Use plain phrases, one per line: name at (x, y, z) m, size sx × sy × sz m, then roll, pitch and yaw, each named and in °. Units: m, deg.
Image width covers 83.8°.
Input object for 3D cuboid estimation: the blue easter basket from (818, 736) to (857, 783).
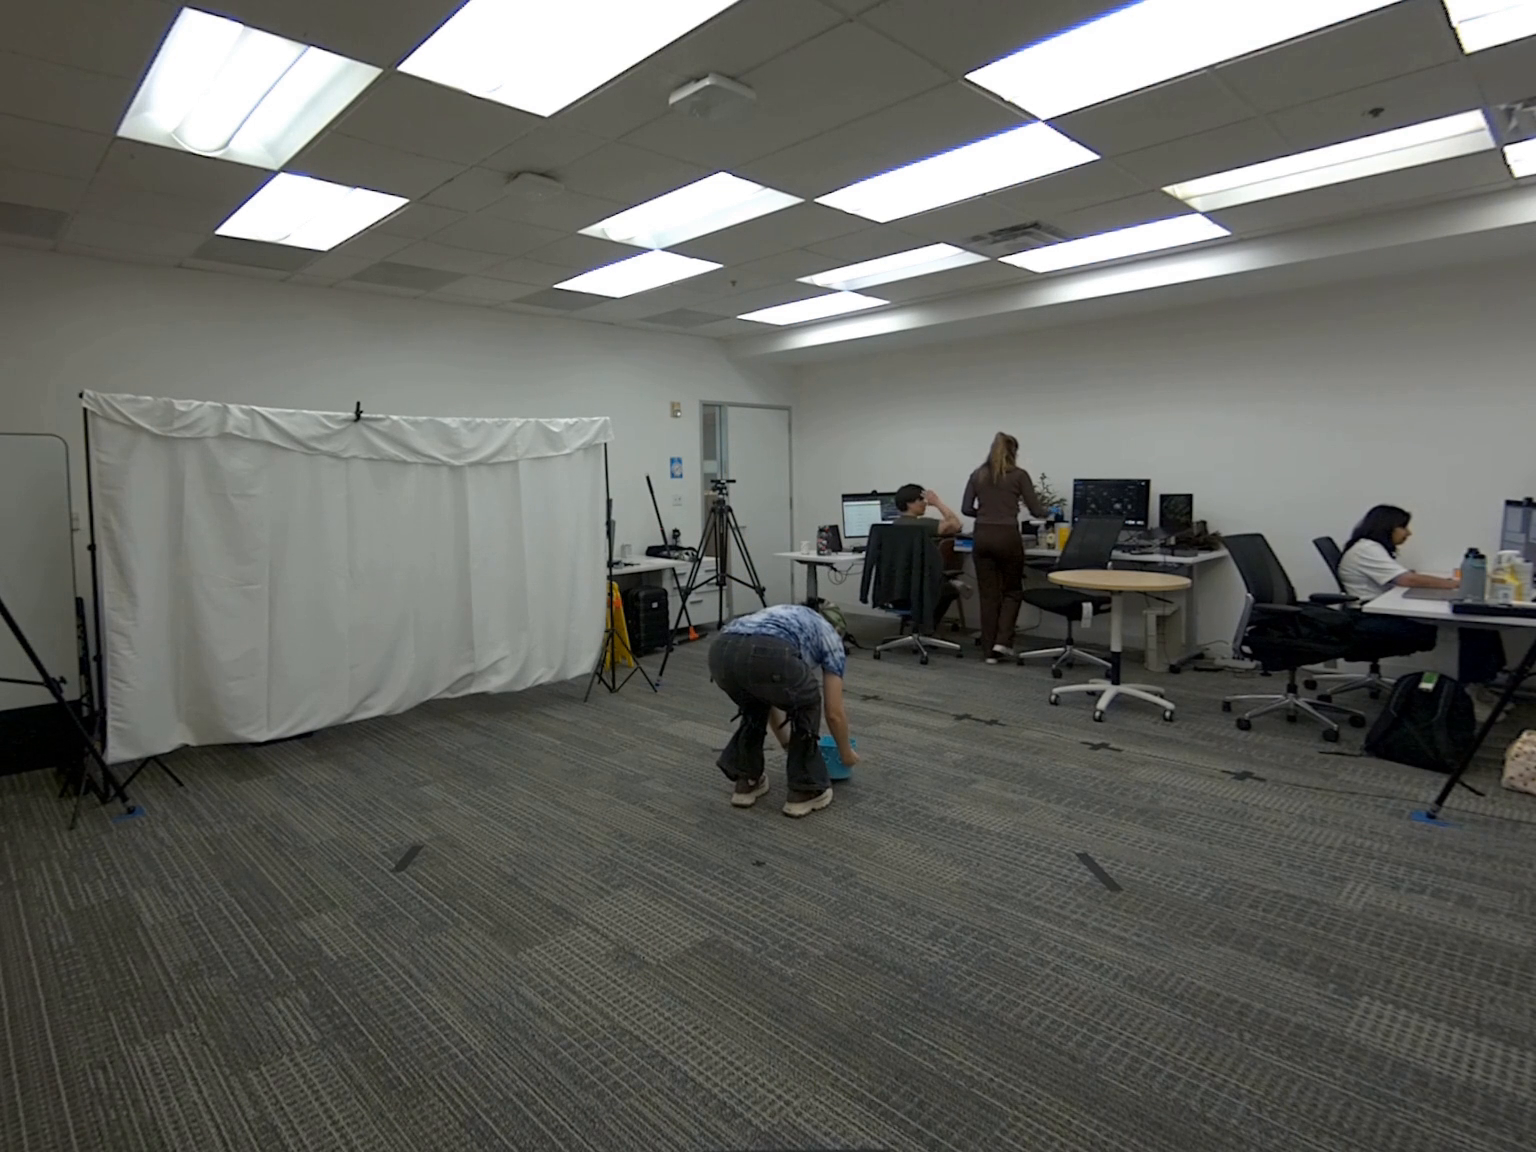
blue easter basket at (0.309, 0.834, 3.975) m, size 0.243 × 0.156 × 0.244 m, roll 0°, pitch 1°, yaw -2°
